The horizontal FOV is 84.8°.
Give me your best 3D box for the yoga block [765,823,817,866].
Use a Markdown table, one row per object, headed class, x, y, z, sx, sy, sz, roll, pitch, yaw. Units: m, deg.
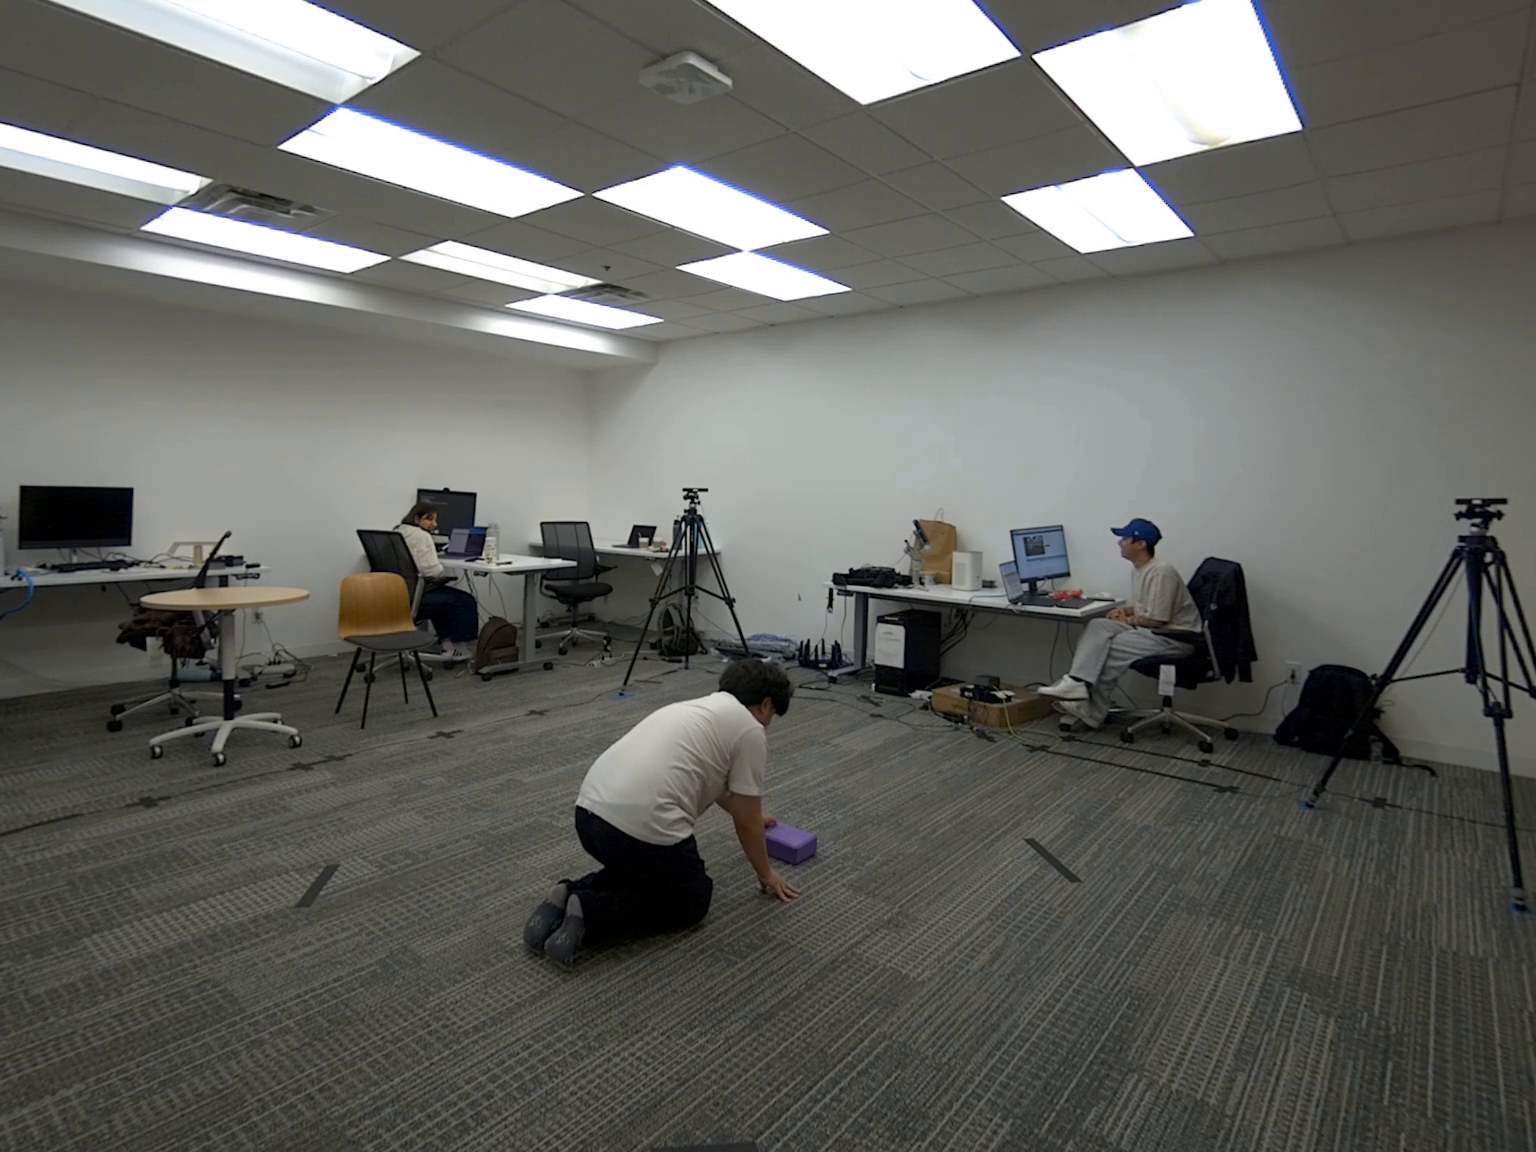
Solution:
| class | x | y | z | sx | sy | sz | roll | pitch | yaw |
| --- | --- | --- | --- | --- | --- | --- | --- | --- | --- |
| yoga block | 0.050 | 1.022 | 3.276 | 0.237 | 0.076 | 0.145 | 5 | 7 | 39 |
